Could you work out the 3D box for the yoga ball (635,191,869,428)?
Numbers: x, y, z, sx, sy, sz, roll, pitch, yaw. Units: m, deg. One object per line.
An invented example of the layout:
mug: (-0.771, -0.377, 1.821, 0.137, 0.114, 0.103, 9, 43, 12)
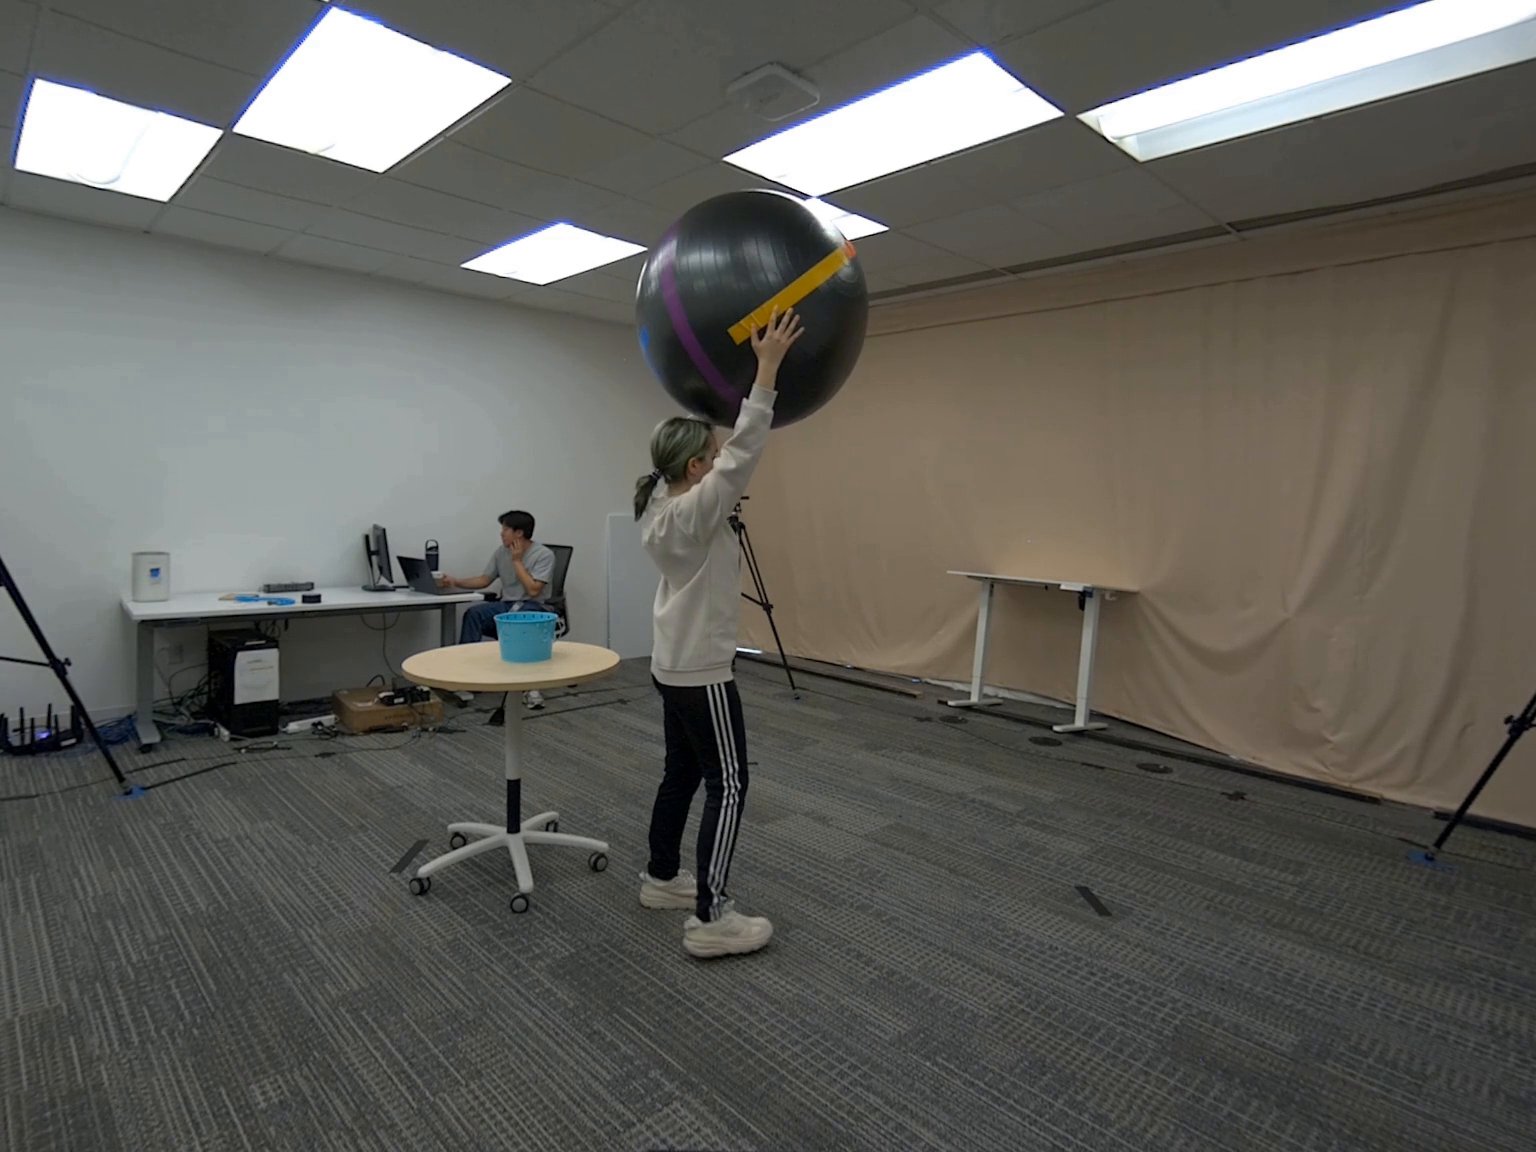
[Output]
yoga ball: (-0.055, -0.852, 2.752, 0.757, 0.756, 0.761, 1, 4, -1)
